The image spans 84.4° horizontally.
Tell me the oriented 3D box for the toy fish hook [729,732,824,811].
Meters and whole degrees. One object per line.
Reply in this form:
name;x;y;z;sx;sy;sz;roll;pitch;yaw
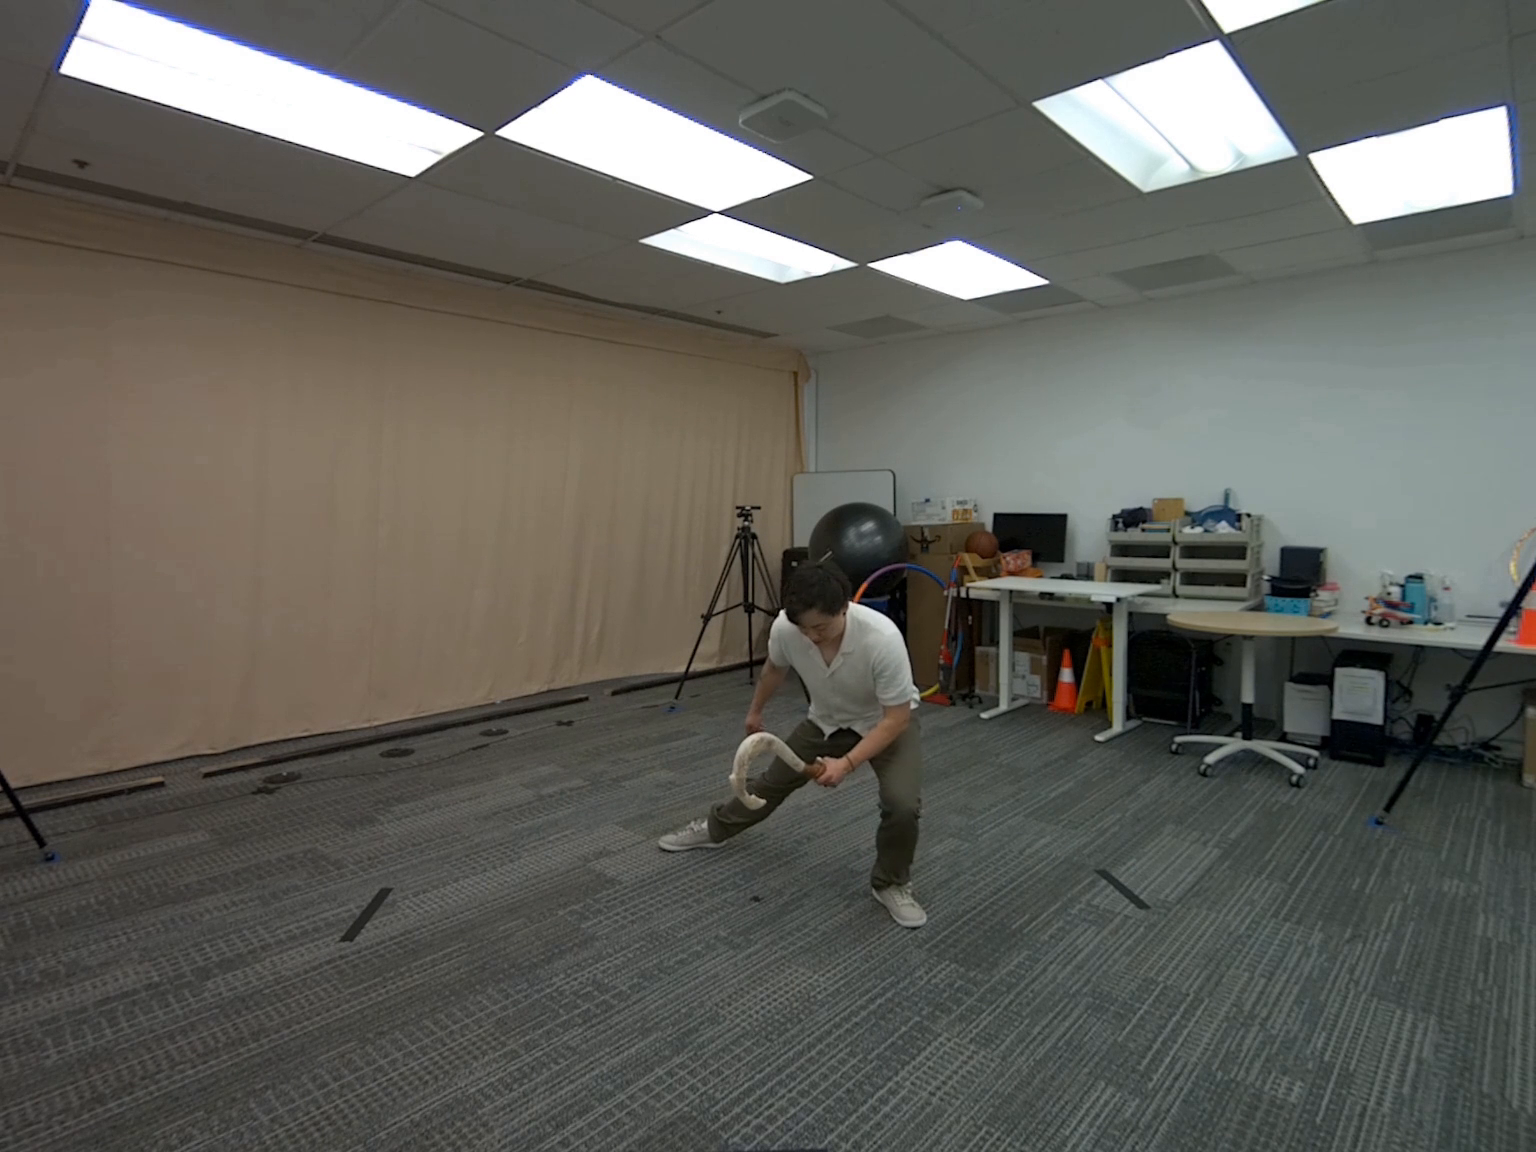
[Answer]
toy fish hook;0.055;0.630;2.609;0.050;0.225;0.488;16;-10;47
